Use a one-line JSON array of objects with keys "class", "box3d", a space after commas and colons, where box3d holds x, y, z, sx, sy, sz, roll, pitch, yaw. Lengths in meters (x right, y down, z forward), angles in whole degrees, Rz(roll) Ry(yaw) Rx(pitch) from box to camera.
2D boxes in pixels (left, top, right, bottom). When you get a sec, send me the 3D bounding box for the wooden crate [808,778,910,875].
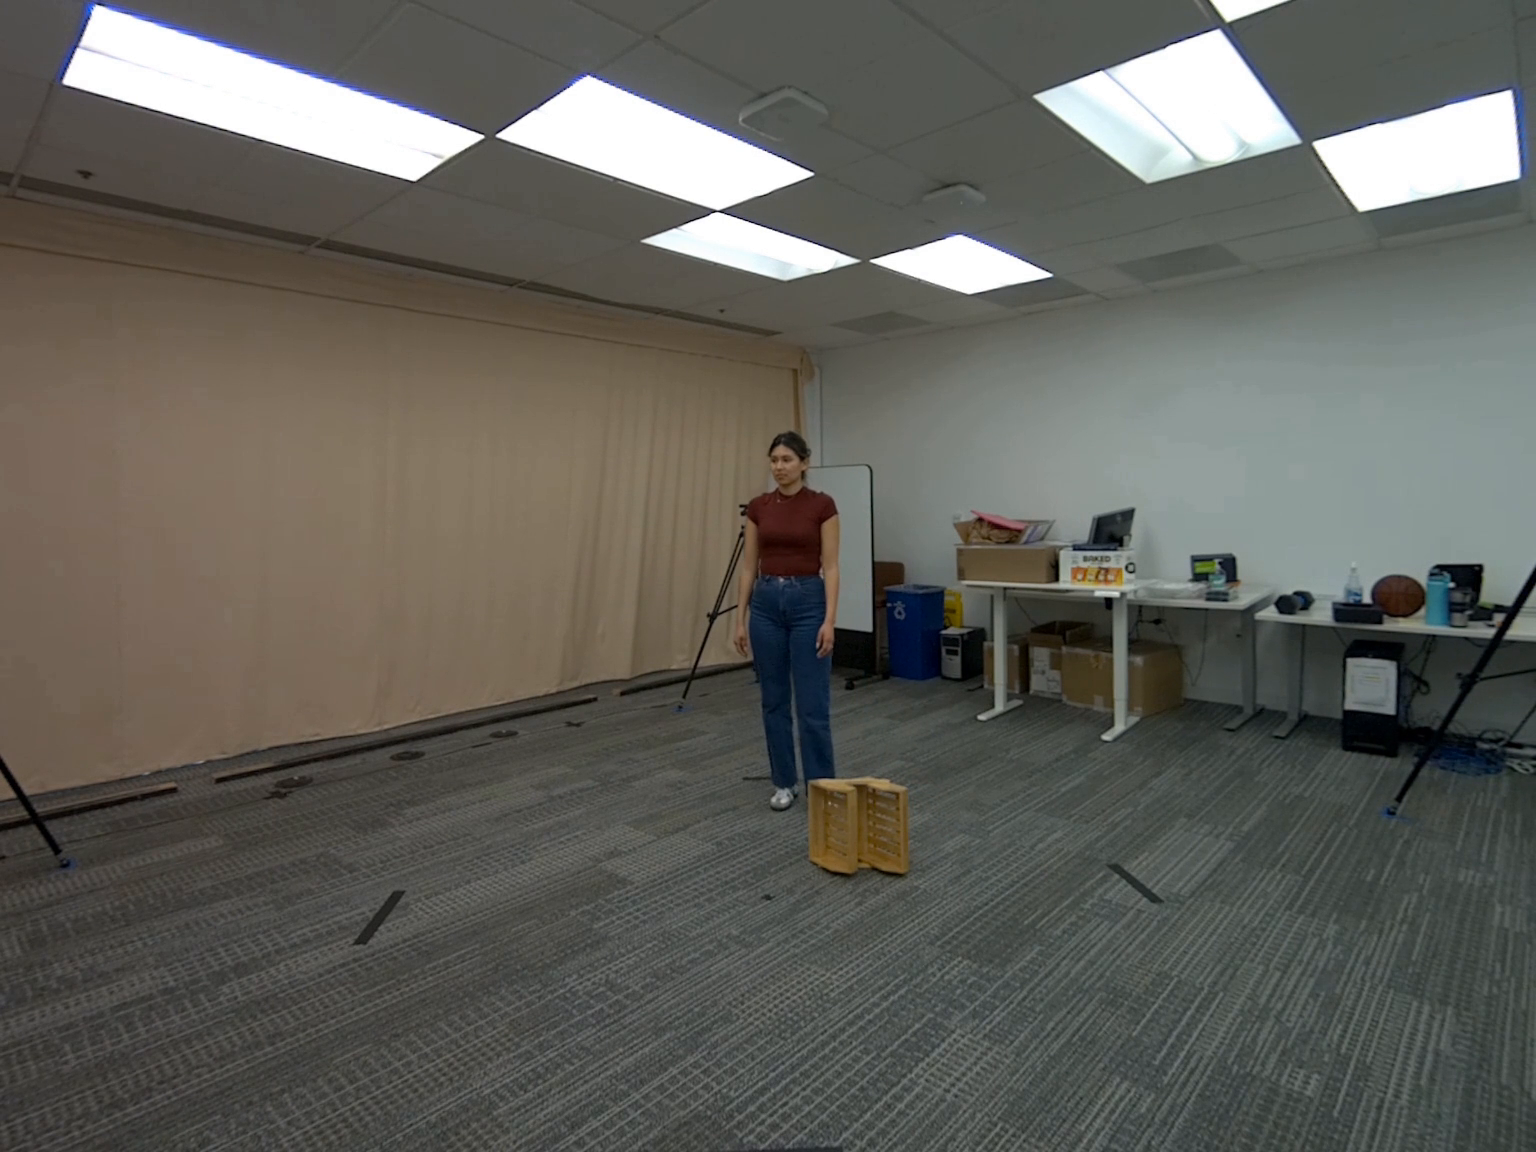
[{"class": "wooden crate", "box3d": [0.347, 0.947, 3.201, 0.266, 0.325, 0.310, 1, -3, -29]}]
